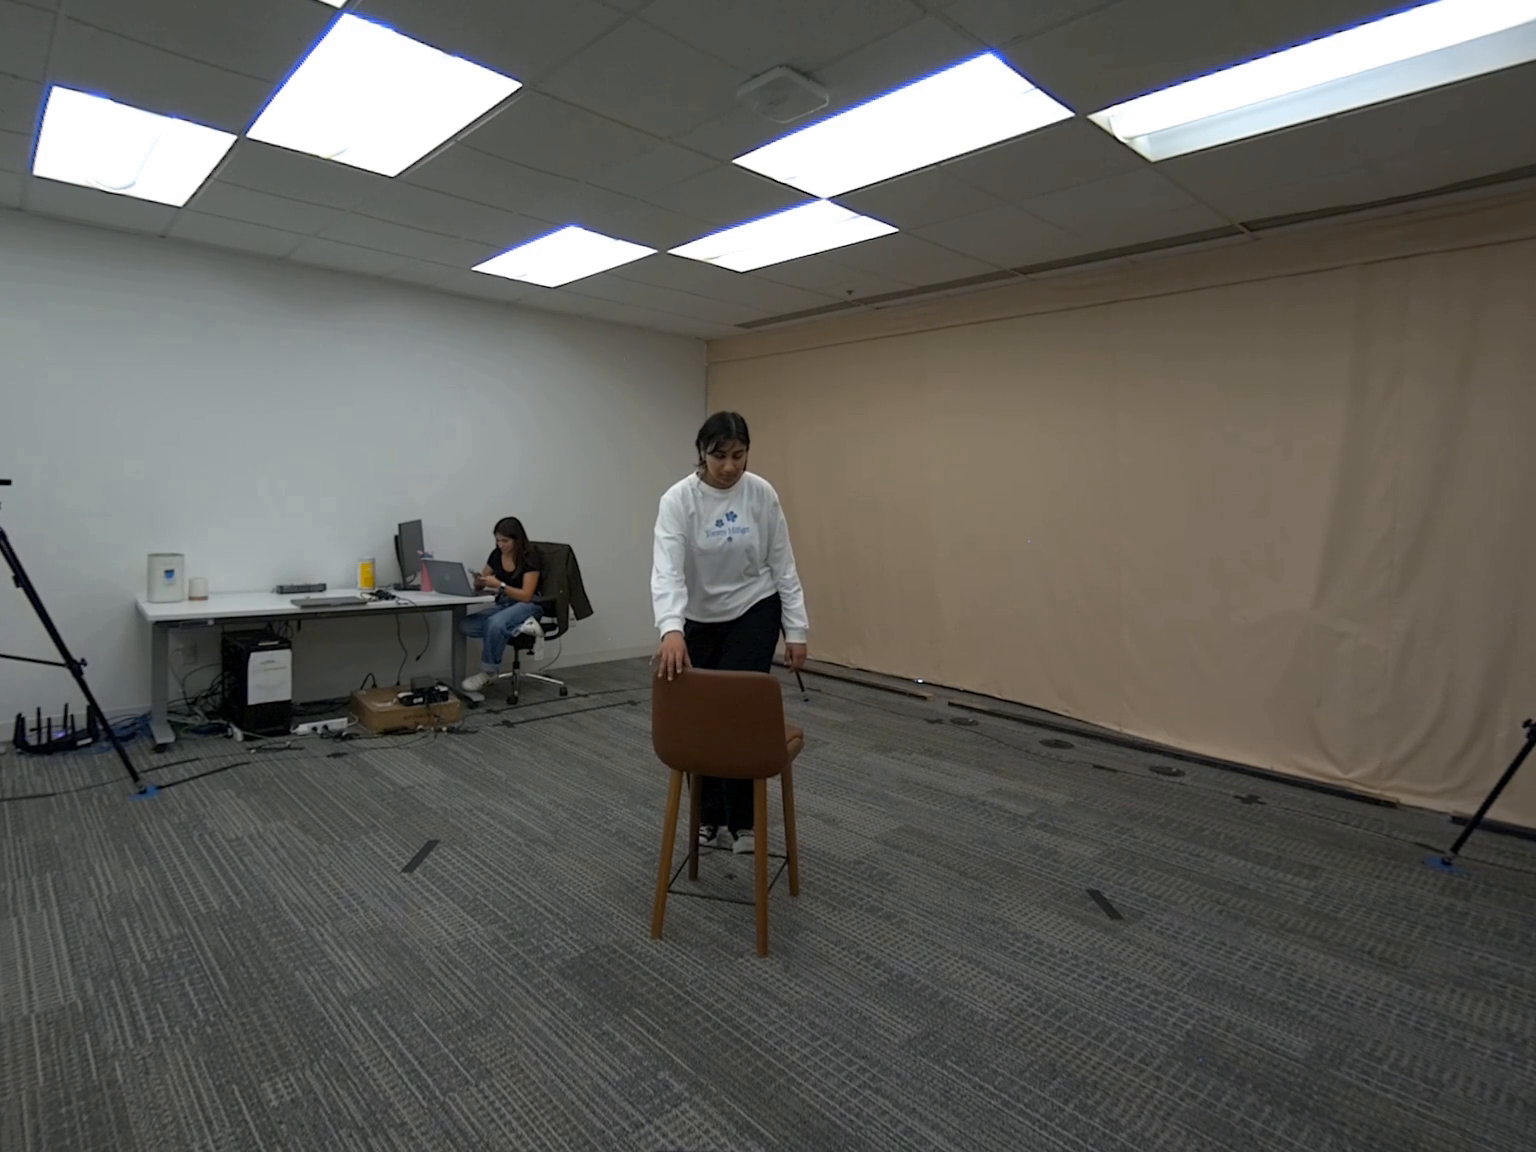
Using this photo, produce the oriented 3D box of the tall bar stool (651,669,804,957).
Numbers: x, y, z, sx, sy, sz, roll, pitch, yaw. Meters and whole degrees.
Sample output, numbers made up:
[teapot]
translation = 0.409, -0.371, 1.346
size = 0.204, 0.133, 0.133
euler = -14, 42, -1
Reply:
[tall bar stool]
translation = -0.140, 0.704, 2.784
size = 0.462, 0.886, 0.463
euler = 2, 5, 15
